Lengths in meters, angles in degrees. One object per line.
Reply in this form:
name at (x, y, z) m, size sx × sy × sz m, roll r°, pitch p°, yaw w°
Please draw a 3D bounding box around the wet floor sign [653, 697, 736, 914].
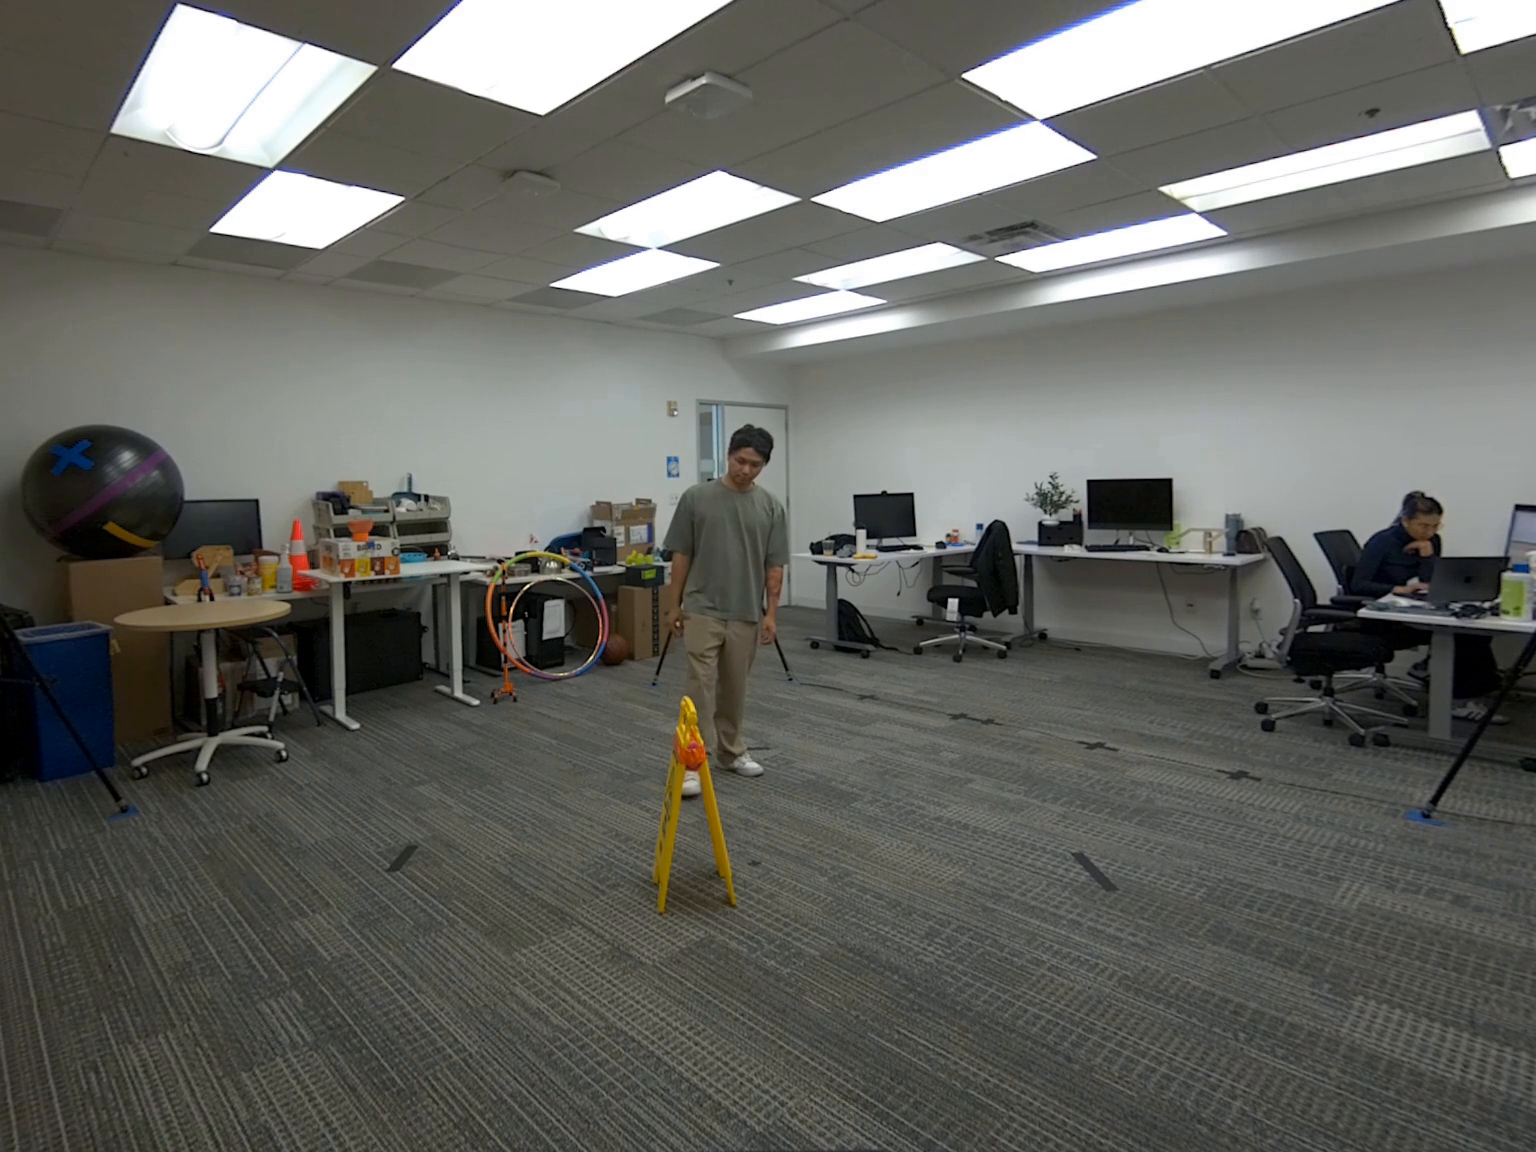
wet floor sign at (-0.264, 0.751, 2.884) m, size 0.287 × 0.643 × 0.286 m, roll -2°, pitch 5°, yaw -10°
